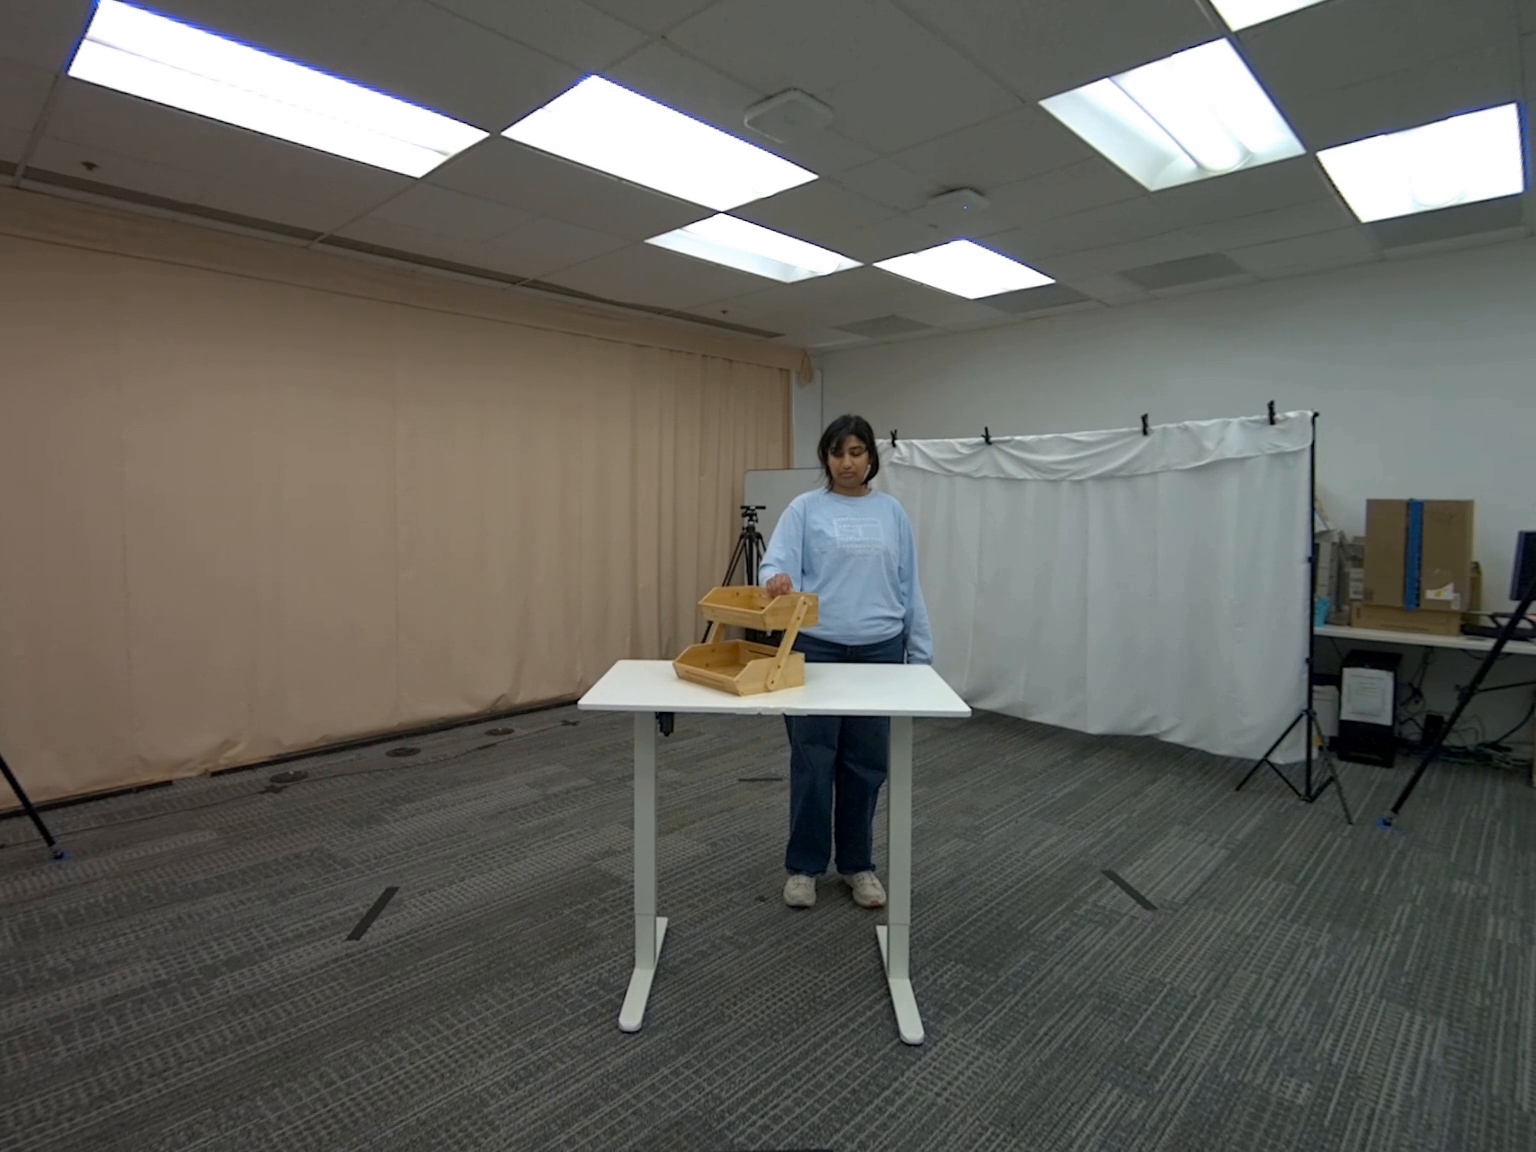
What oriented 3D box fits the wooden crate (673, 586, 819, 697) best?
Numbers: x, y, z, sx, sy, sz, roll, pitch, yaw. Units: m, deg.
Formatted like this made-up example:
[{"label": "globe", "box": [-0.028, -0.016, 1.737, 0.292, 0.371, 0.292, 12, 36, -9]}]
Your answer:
[{"label": "wooden crate", "box": [-0.071, 0.177, 2.434, 0.293, 0.273, 0.335, -2, 5, -37]}]
